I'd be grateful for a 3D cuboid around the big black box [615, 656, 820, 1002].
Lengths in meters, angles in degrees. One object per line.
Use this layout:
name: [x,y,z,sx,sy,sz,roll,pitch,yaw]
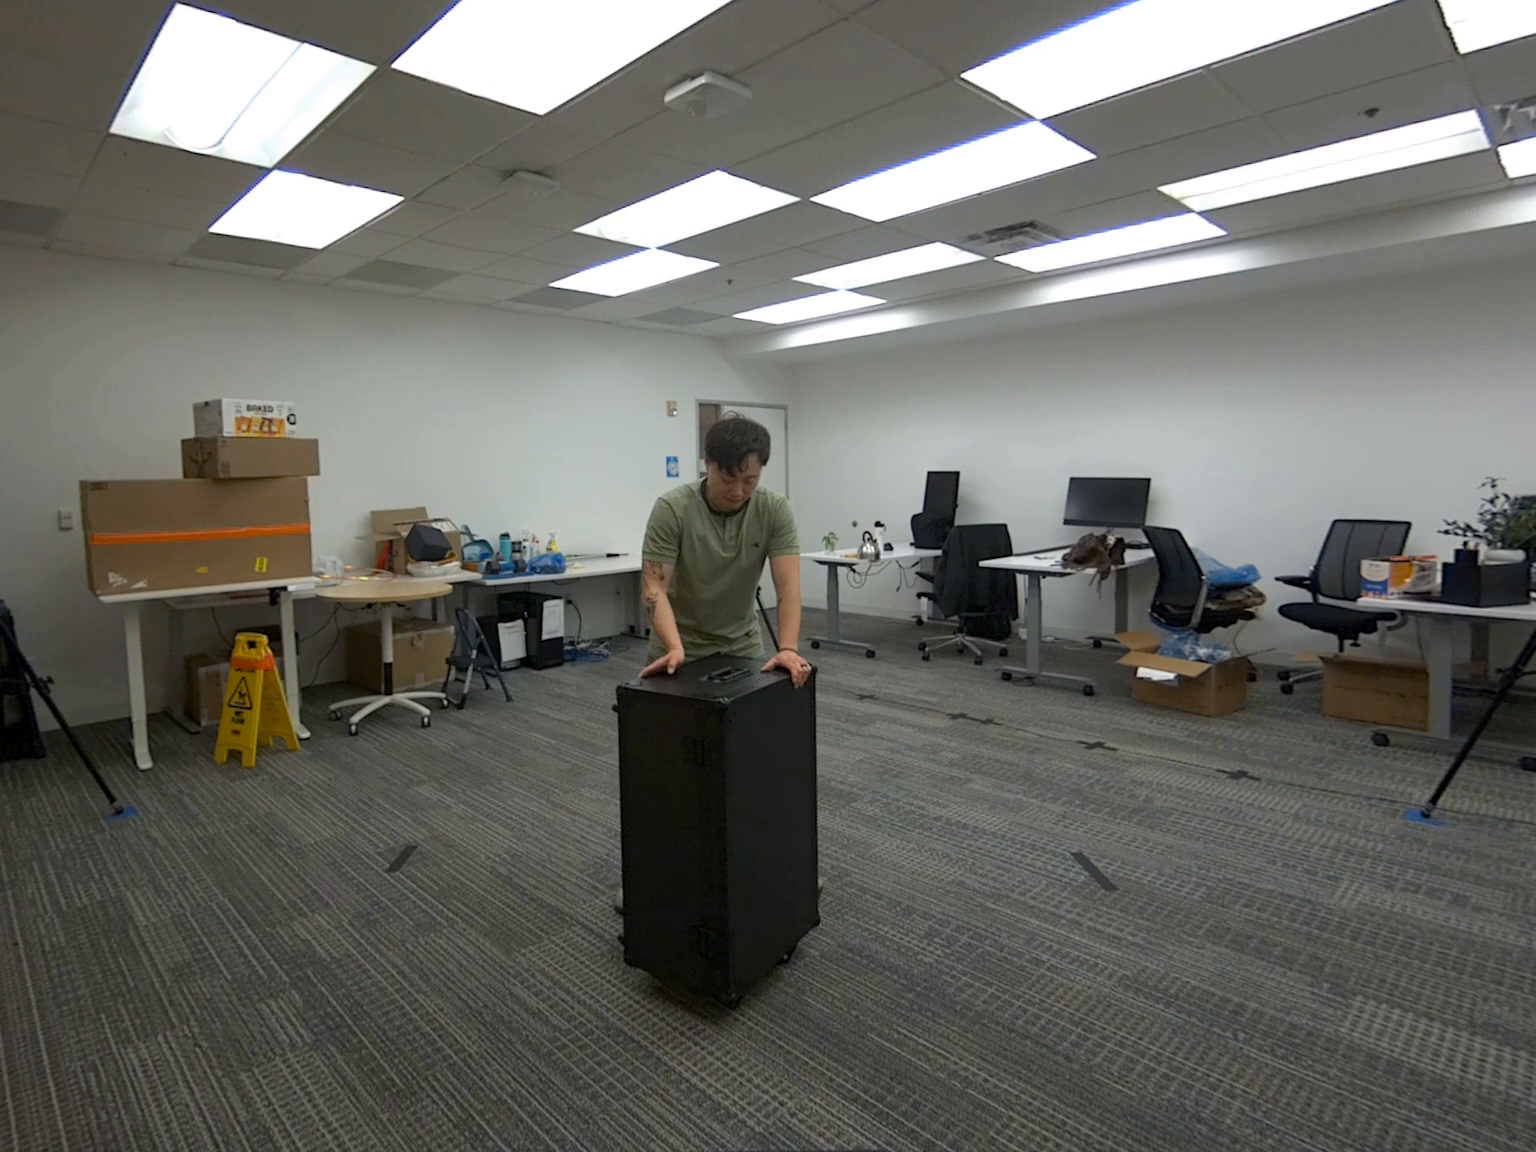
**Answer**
big black box: [-0.129,0.700,2.425,0.407,0.859,0.509,1,4,33]
